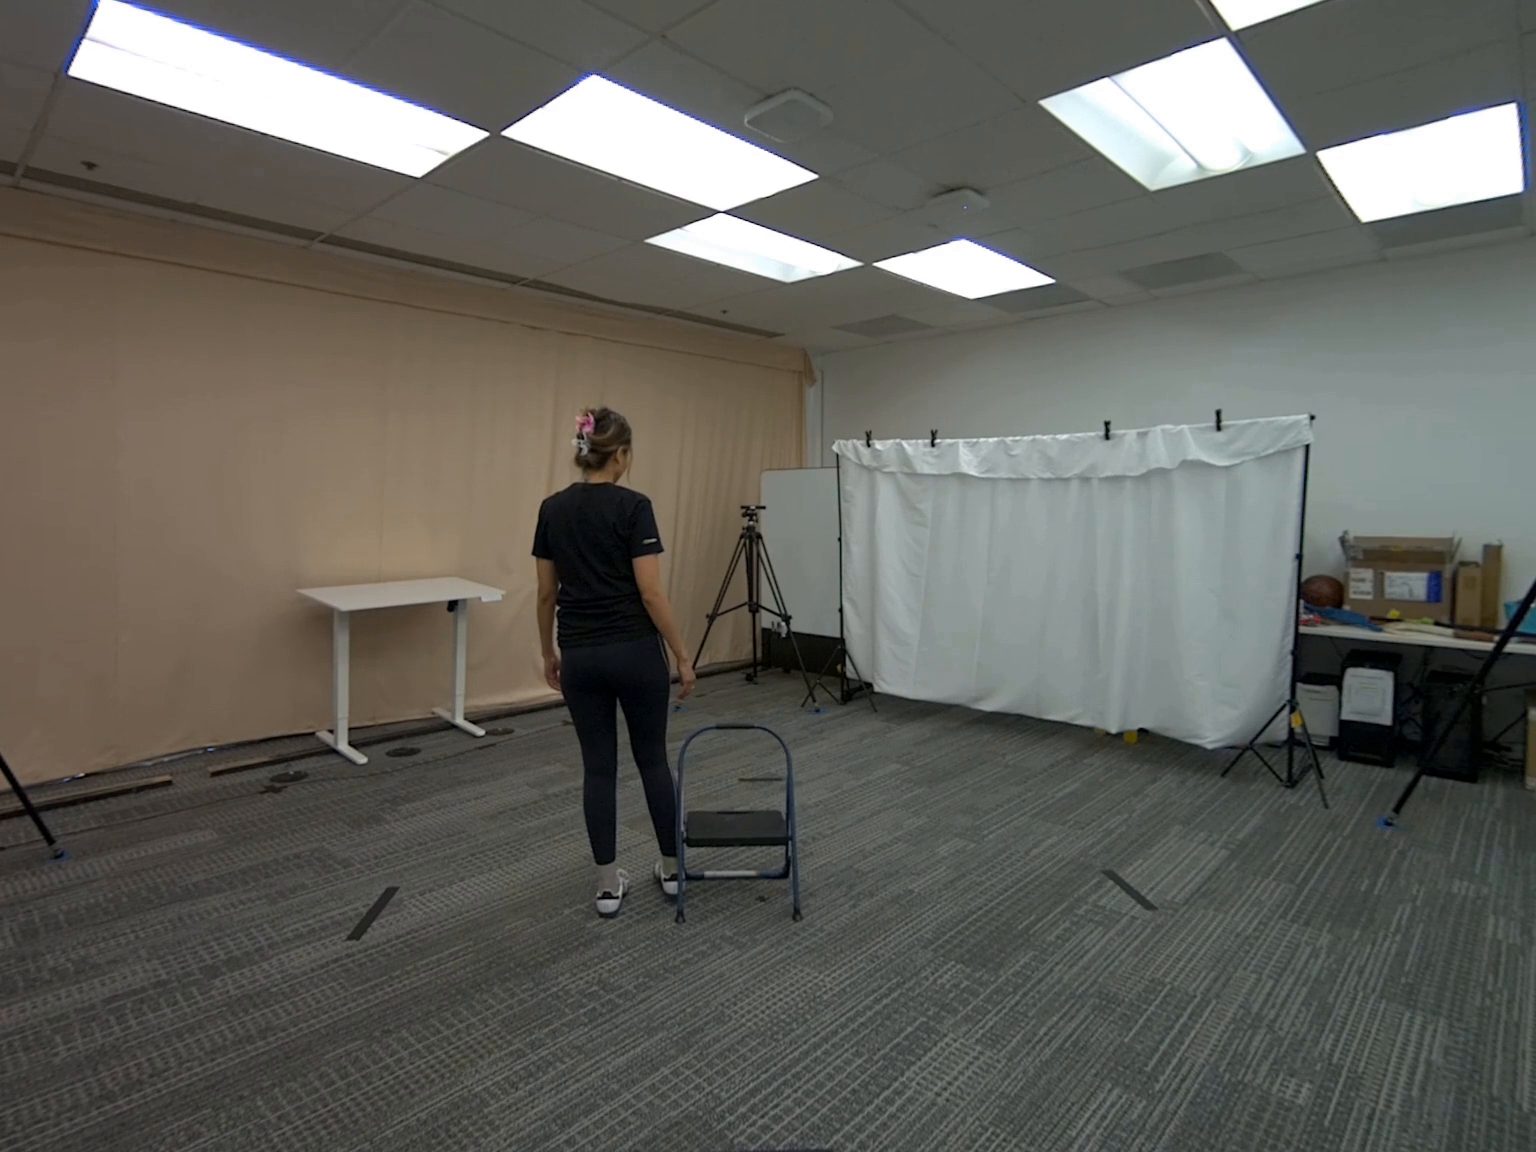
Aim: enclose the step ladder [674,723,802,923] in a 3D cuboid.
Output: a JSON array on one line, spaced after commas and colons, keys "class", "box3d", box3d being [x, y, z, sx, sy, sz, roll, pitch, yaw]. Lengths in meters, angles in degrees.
[{"class": "step ladder", "box3d": [-0.106, 0.845, 2.974, 0.429, 0.604, 0.351, 0, 4, -3]}]
